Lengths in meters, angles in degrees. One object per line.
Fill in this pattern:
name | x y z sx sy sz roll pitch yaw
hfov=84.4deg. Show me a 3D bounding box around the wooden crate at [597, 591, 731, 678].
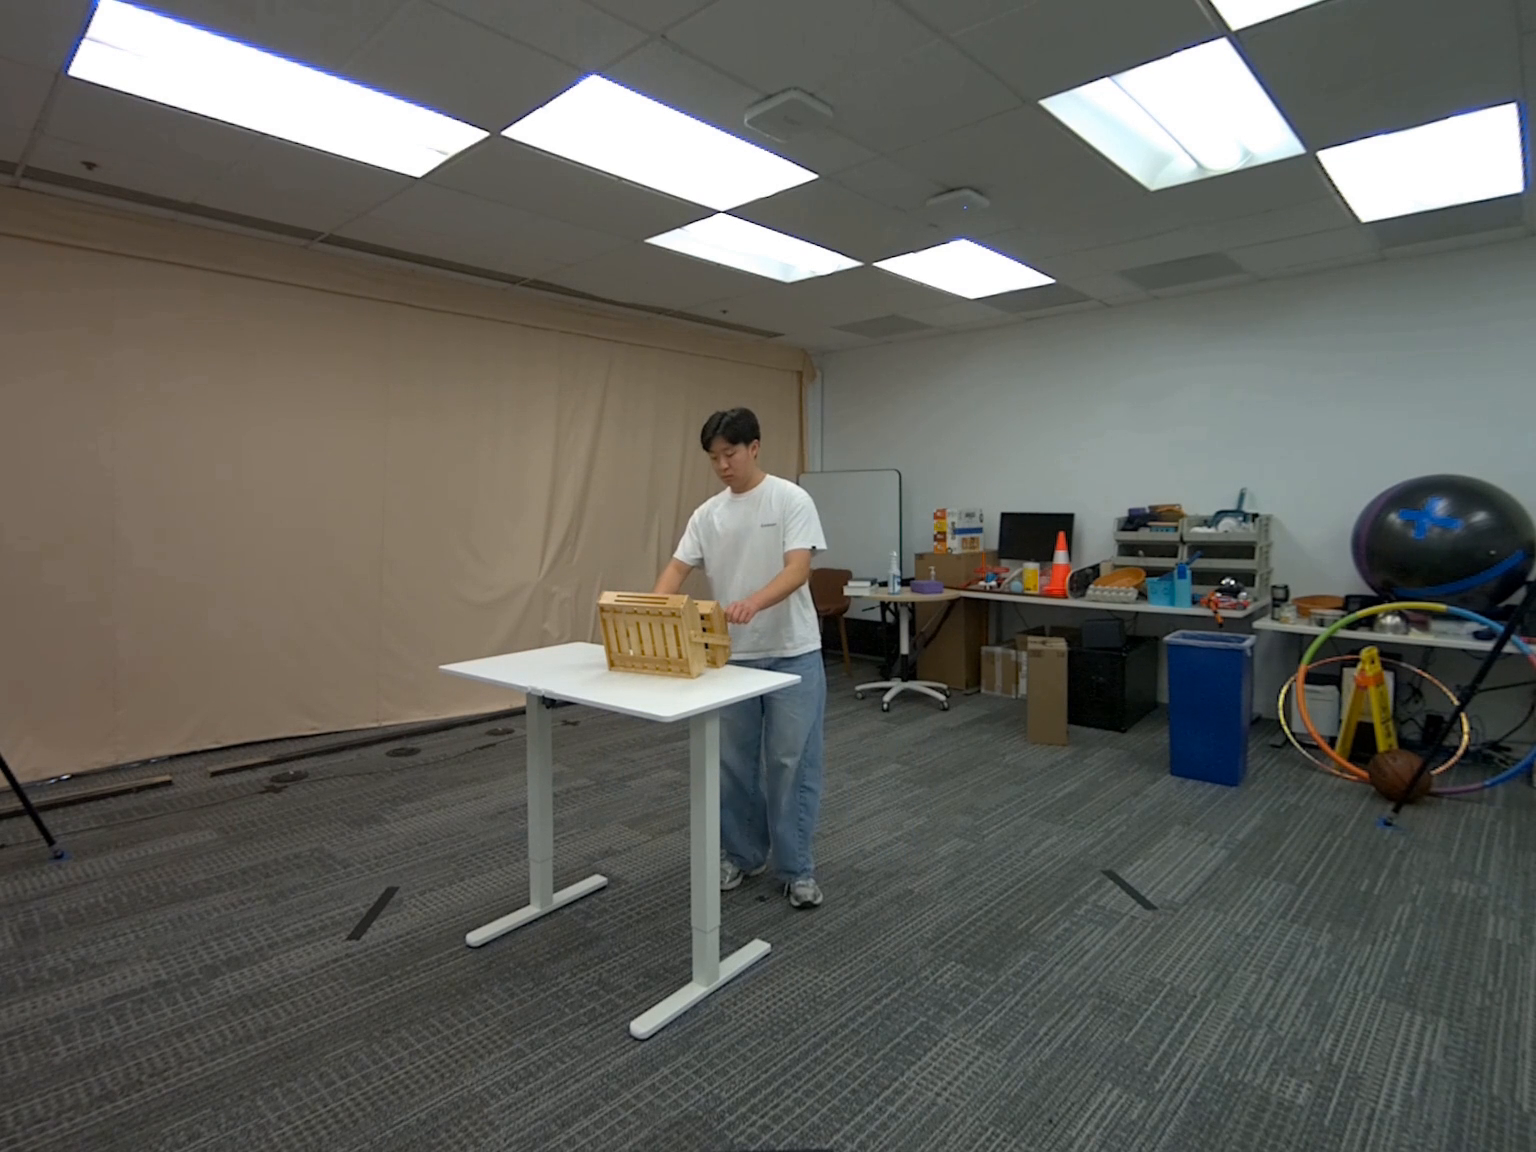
wooden crate | -0.324 0.159 2.632 0.333 0.298 0.270 2 21 24
